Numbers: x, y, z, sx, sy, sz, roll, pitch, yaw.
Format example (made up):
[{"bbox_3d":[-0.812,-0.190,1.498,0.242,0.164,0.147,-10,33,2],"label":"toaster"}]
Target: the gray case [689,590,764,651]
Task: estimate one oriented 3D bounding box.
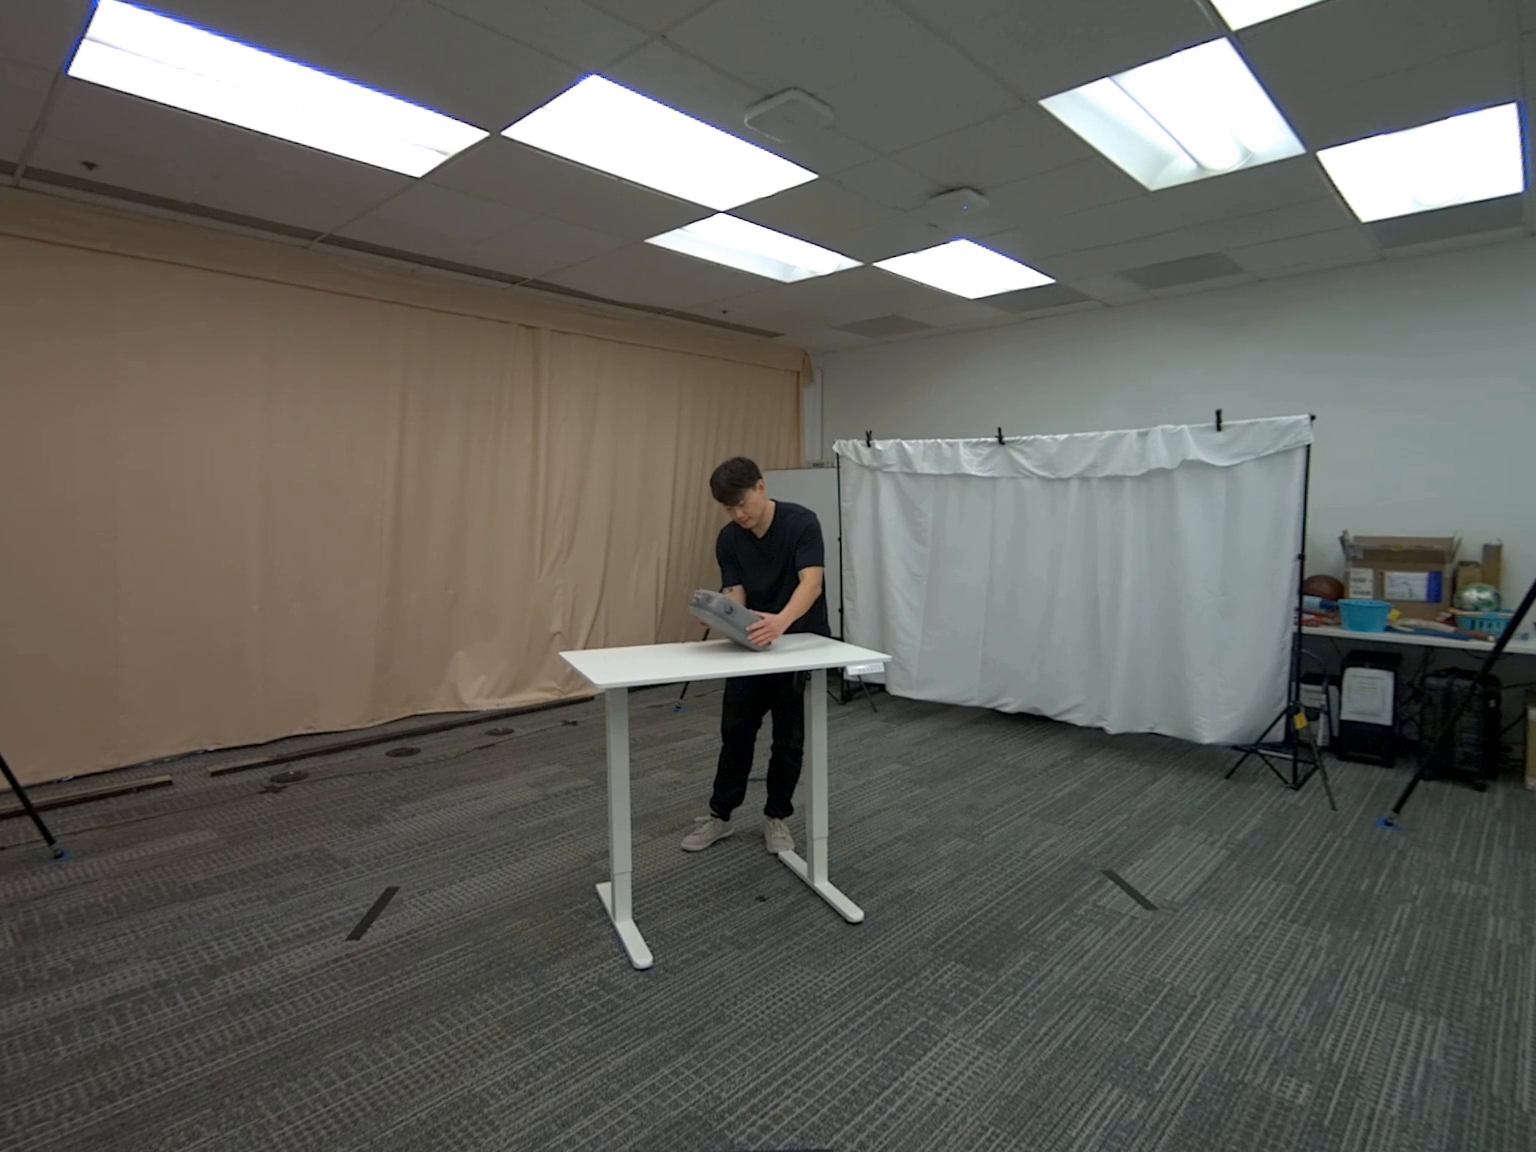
[{"bbox_3d":[-0.146,0.152,3.006,0.254,0.104,0.263,36,-7,-21],"label":"gray case"}]
